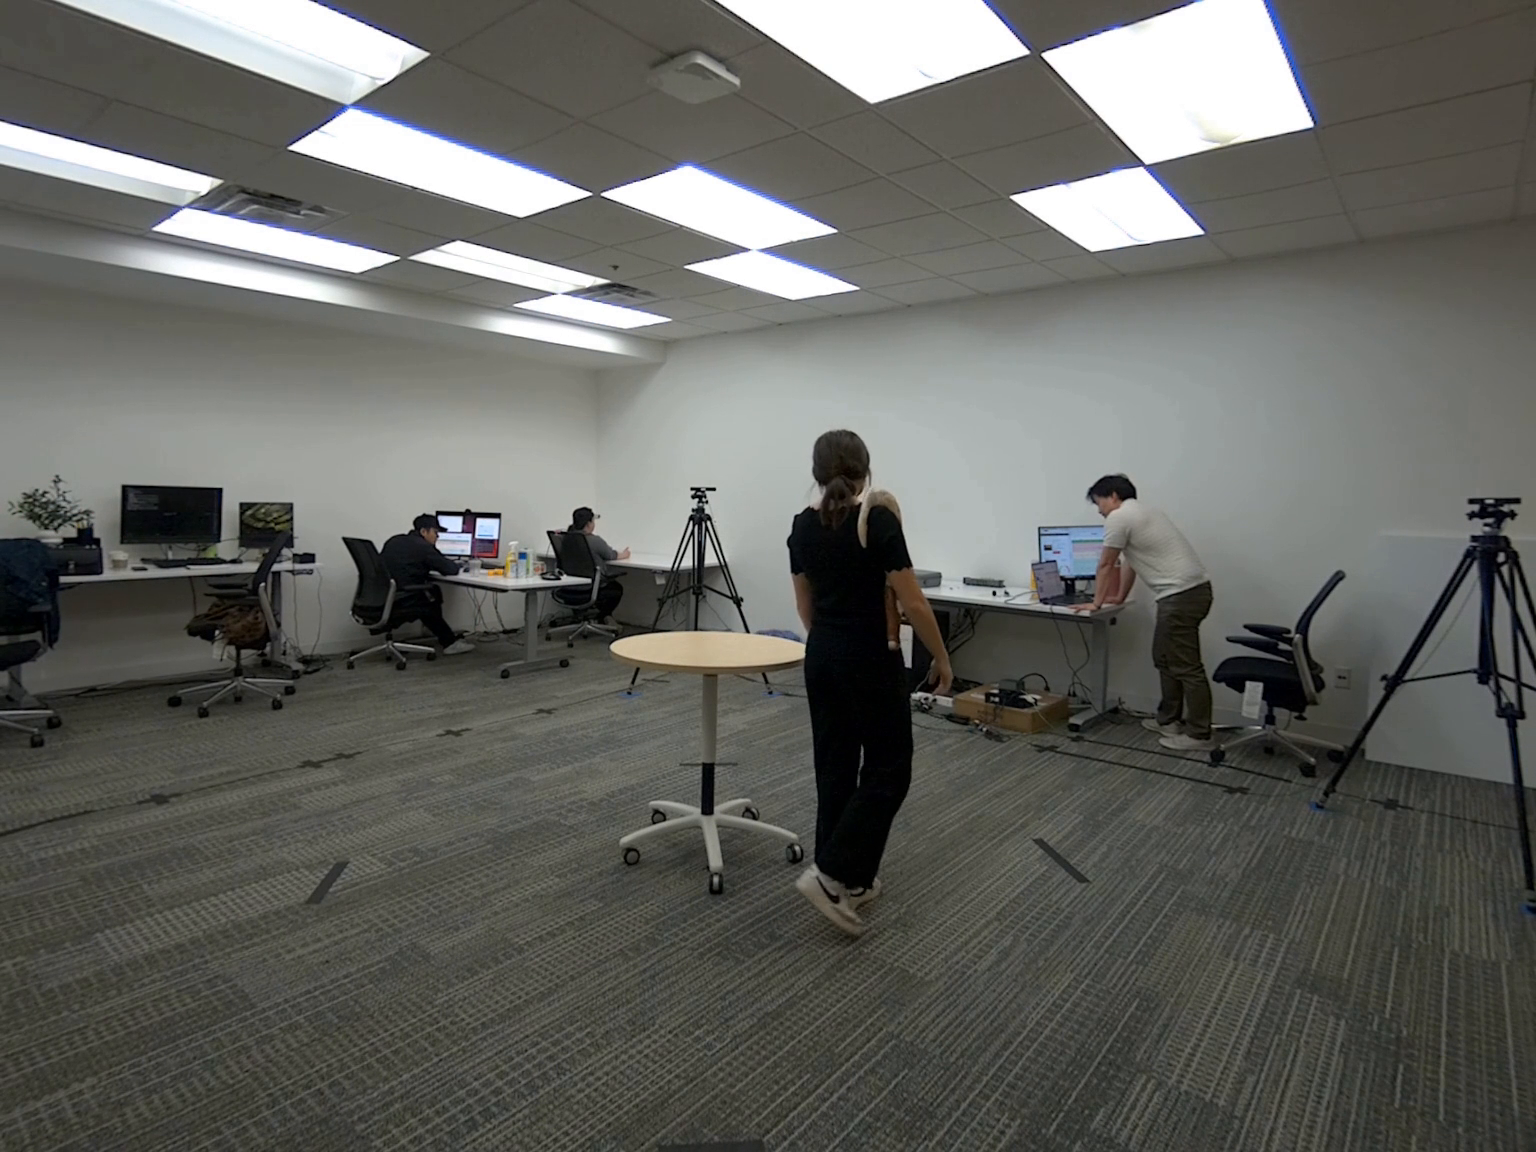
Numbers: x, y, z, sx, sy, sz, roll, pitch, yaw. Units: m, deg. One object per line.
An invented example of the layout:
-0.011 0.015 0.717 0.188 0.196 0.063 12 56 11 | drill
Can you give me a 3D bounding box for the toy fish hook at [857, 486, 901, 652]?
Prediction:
0.347 -0.025 2.647 0.217 0.510 0.049 3 -9 -41 | toy fish hook
